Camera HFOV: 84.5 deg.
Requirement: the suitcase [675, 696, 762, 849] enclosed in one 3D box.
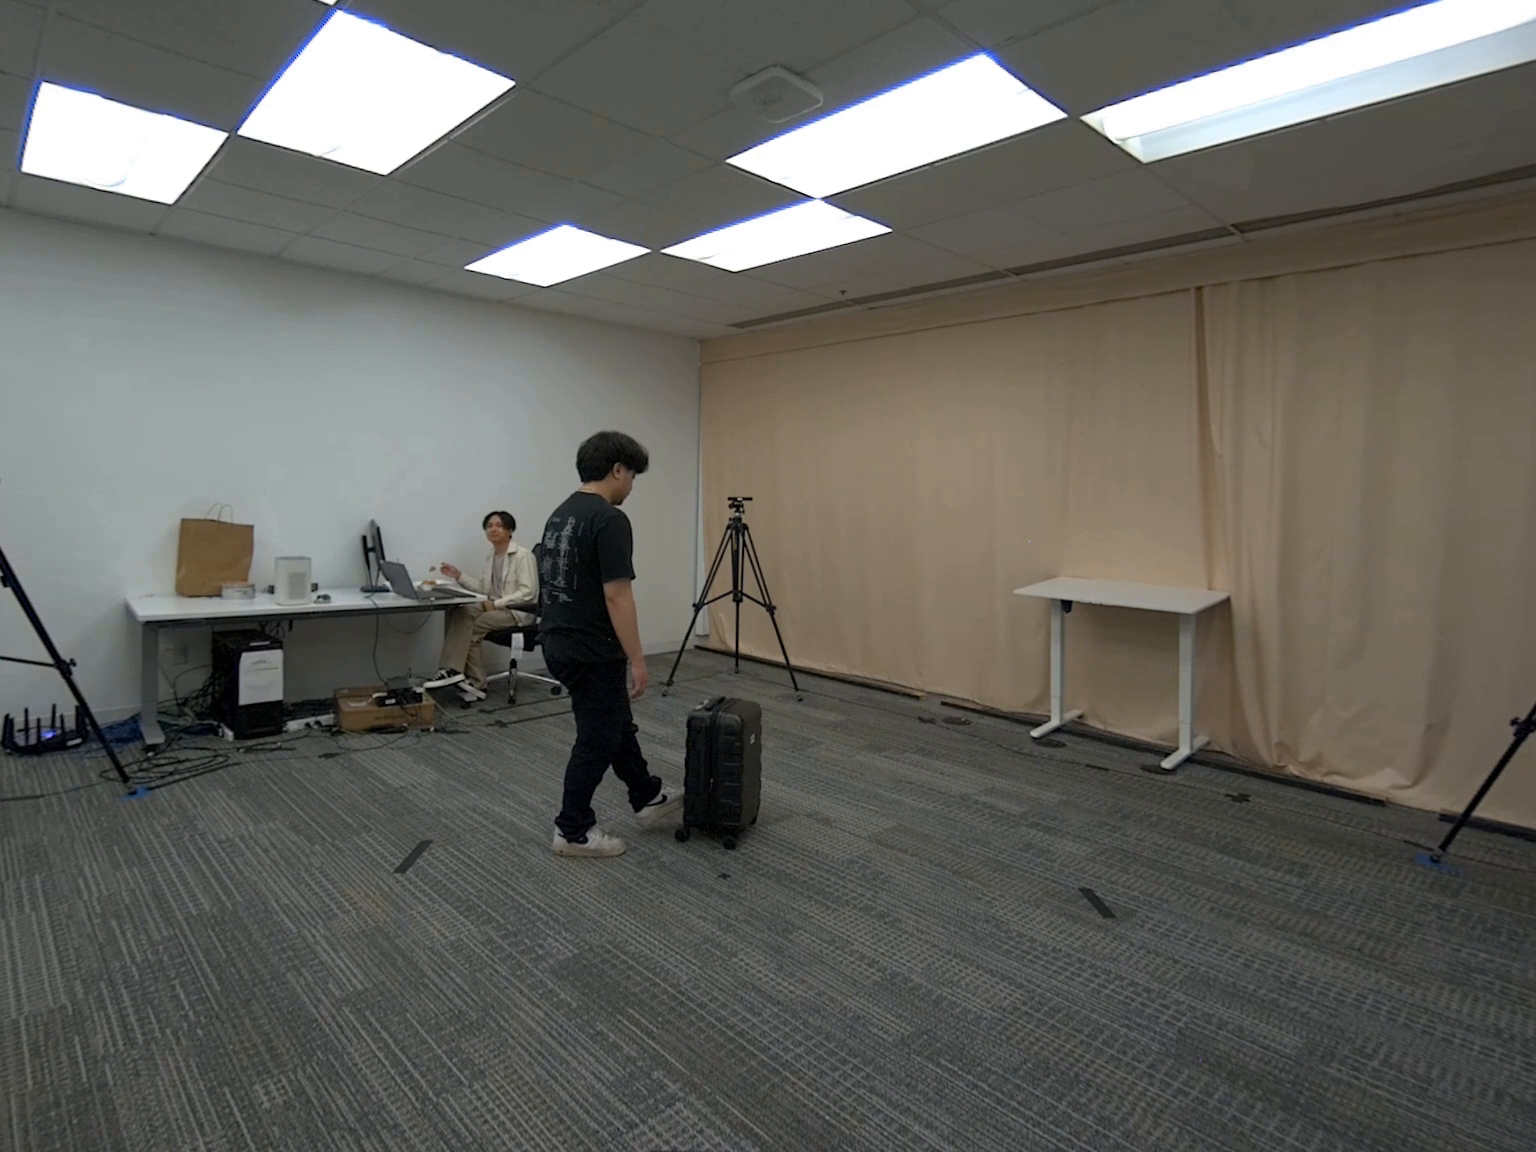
[{"bbox_3d":[-0.196,0.794,3.517,0.252,0.548,0.370,5,3,18],"label":"suitcase"}]
